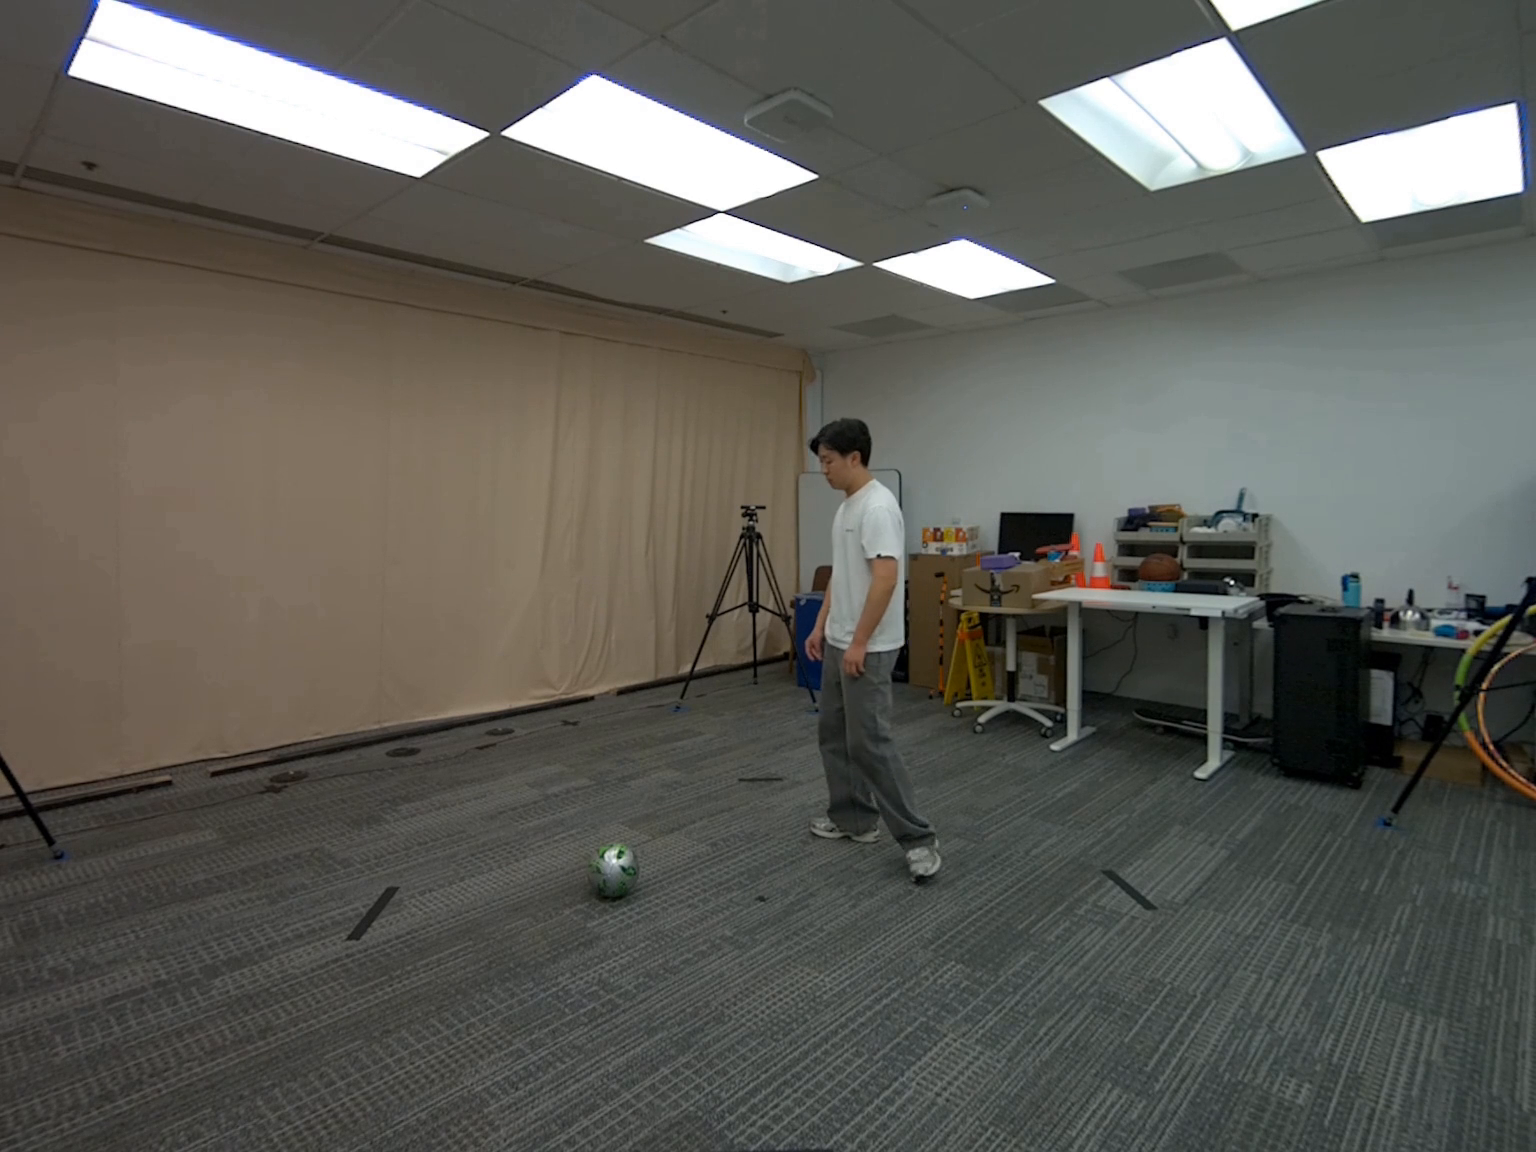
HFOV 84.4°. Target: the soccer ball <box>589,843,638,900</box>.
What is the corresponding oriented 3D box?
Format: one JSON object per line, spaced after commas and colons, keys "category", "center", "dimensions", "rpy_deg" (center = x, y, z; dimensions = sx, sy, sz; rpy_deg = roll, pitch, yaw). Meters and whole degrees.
{"category": "soccer ball", "center": [-0.548, 1.055, 3.013], "dimensions": [0.187, 0.187, 0.188], "rpy_deg": [0, 4, -2]}
